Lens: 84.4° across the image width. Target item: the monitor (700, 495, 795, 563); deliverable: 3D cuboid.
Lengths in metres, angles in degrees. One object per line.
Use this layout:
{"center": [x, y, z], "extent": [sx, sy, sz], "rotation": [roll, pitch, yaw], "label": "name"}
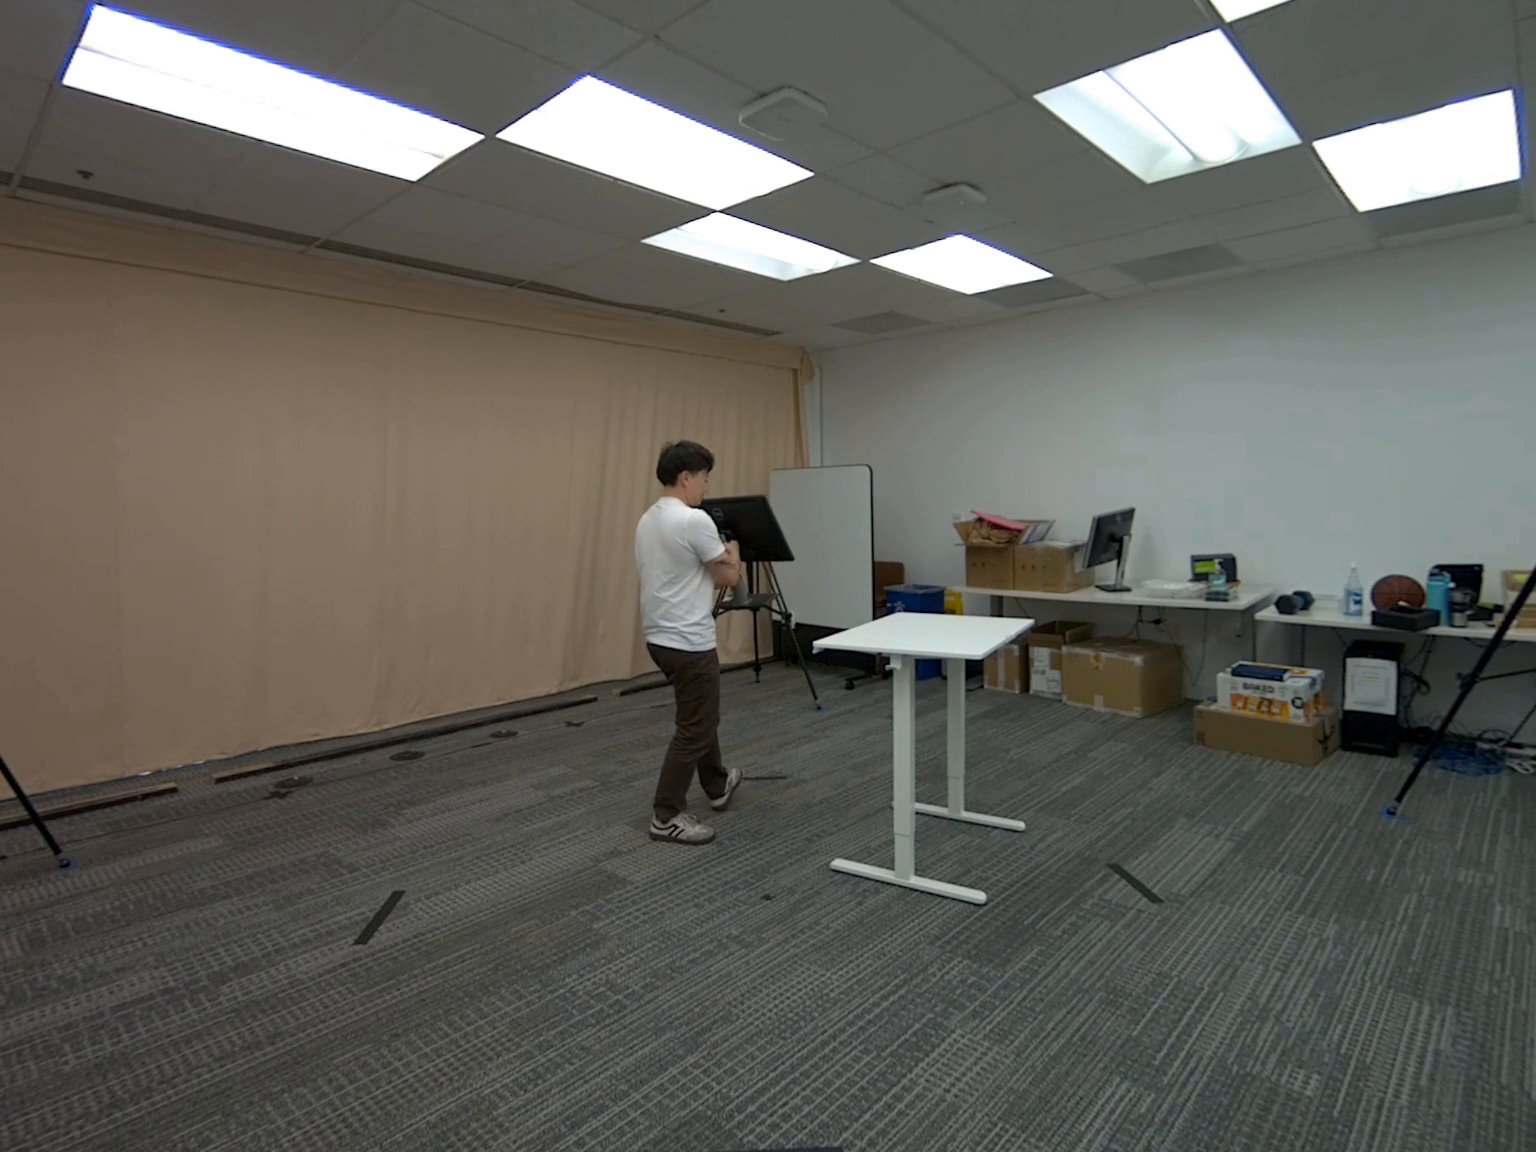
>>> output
{"center": [-0.162, -0.107, 3.813], "extent": [0.555, 0.514, 0.184], "rotation": [-2, 23, 36], "label": "monitor"}
